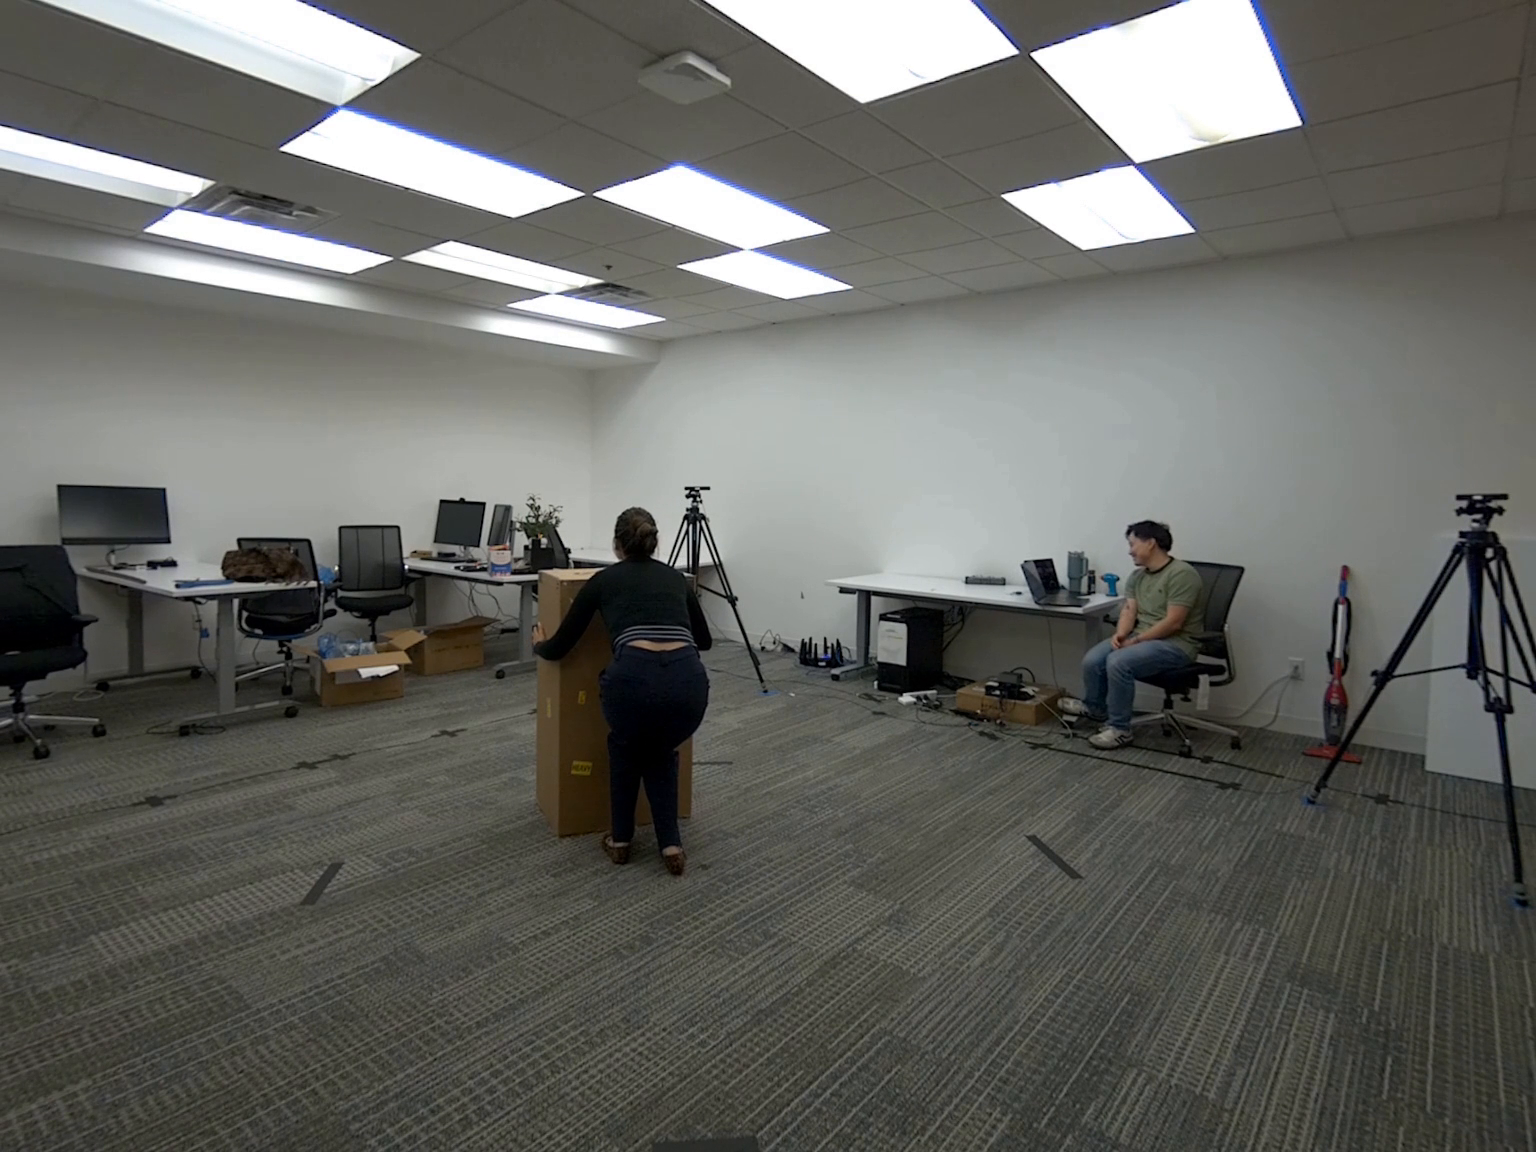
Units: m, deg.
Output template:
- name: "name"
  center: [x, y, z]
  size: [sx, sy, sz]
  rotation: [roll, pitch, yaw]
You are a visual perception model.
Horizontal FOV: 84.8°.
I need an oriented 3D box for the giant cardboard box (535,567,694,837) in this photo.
- name: "giant cardboard box"
  center: [-0.673, 0.496, 3.640]
  size: [0.564, 1.023, 0.437]
  rotation: [-1, 3, -25]
